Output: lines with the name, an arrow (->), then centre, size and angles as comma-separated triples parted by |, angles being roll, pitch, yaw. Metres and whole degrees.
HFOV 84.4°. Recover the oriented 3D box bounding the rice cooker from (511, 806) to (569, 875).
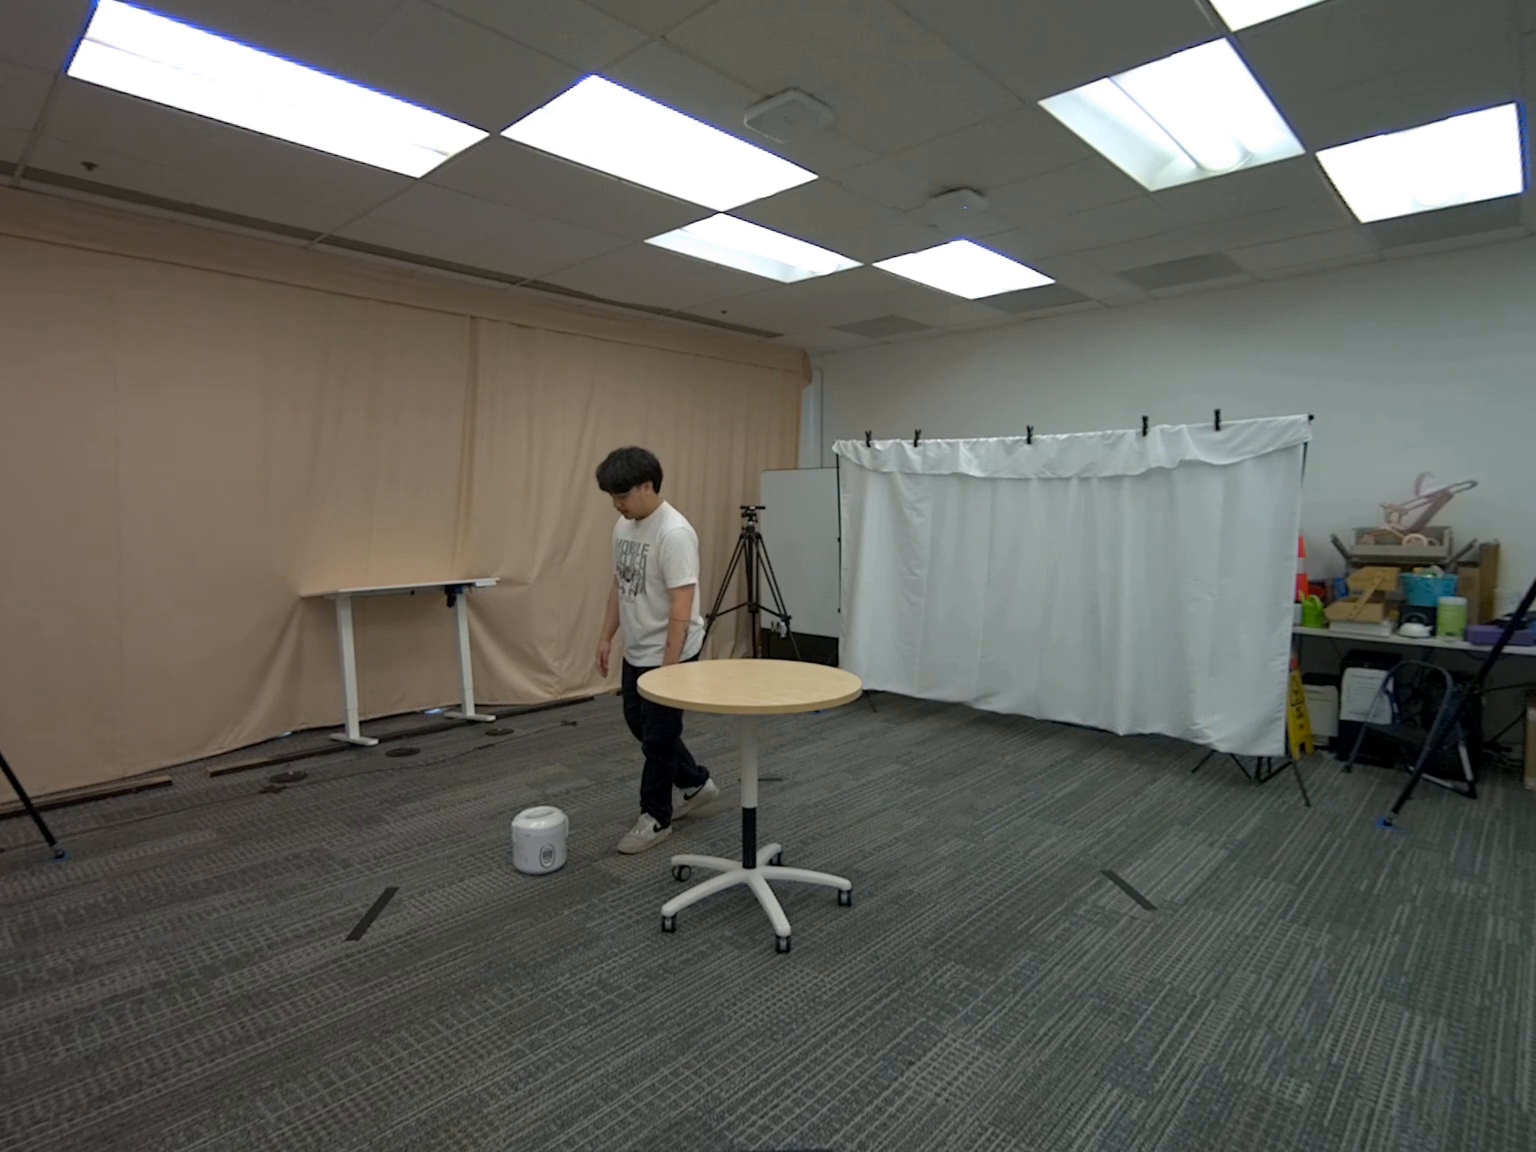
rice cooker -> -0.887, 1.013, 3.267 | 0.215, 0.232, 0.223 | -2, 3, -28
